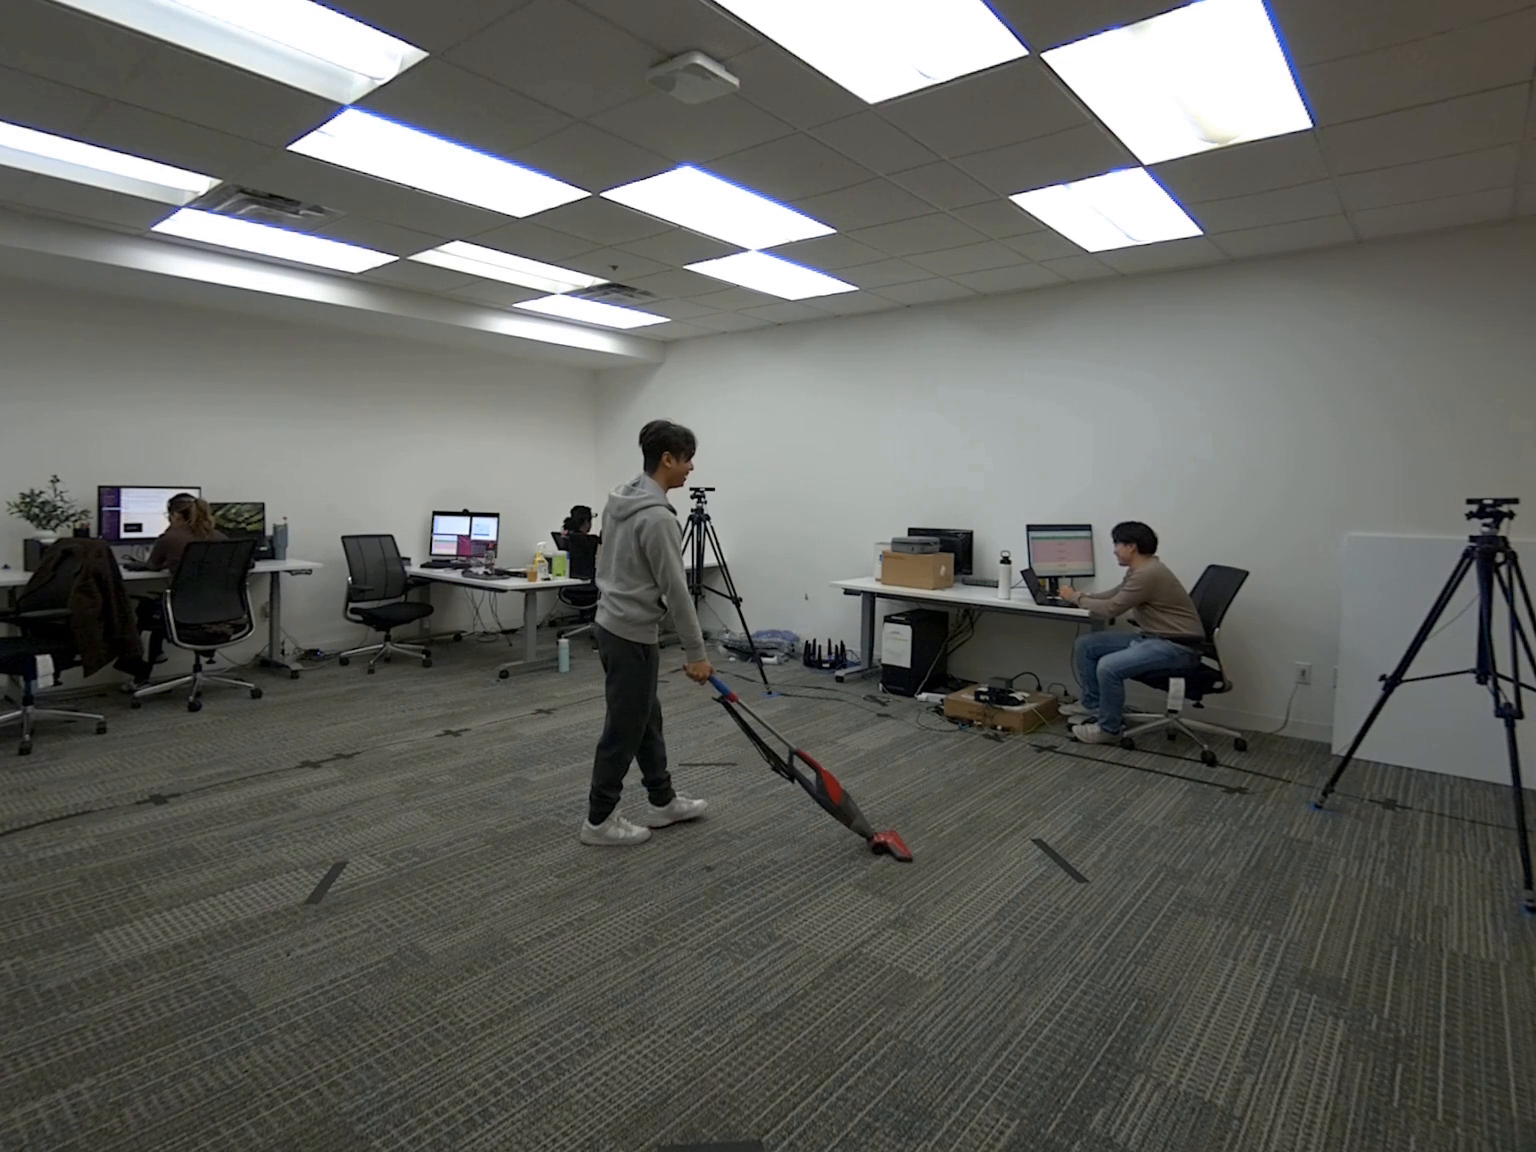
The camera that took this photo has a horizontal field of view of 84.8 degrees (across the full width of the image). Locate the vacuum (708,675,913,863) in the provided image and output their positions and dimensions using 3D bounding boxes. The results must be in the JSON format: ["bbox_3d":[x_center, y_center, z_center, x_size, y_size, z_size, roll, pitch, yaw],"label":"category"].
[{"bbox_3d":[0.075,0.707,3.282,1.042,0.144,0.254,41,3,-5],"label":"vacuum"}]
